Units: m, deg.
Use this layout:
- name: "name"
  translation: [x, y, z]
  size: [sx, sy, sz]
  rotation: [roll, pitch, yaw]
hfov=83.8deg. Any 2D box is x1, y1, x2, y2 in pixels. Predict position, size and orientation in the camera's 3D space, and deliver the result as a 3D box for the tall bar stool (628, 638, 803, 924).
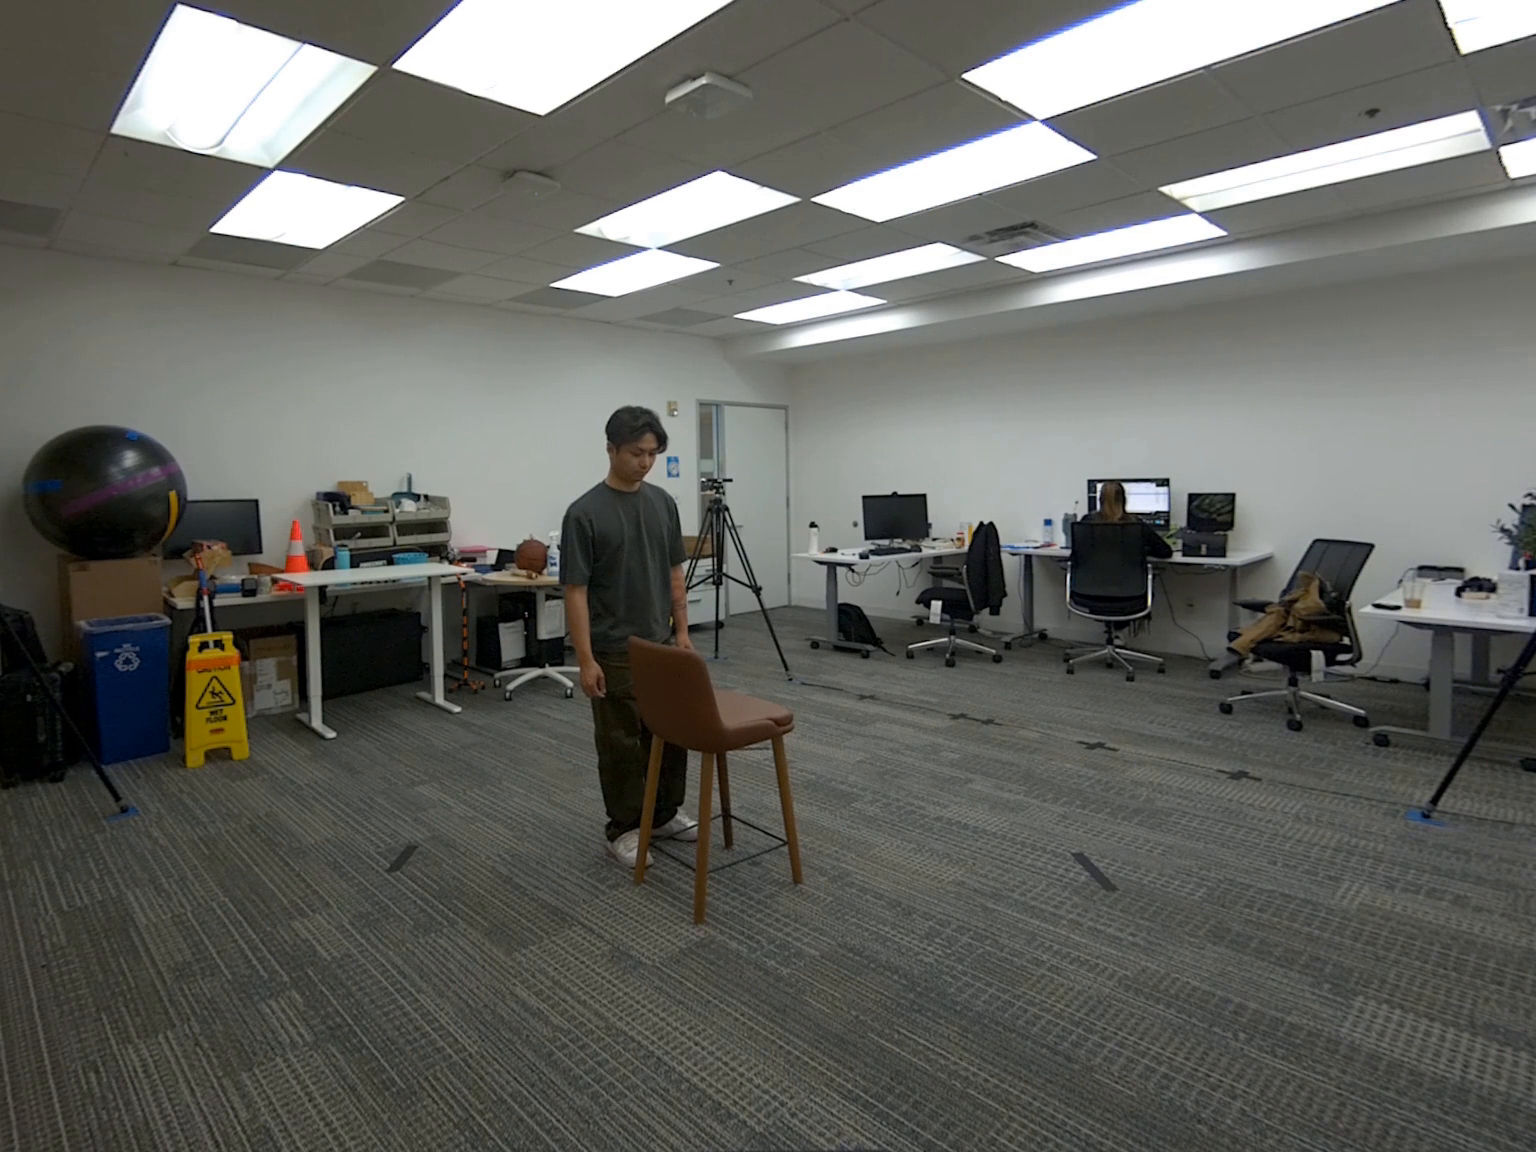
- name: "tall bar stool"
  translation: [-0.180, 0.633, 2.932]
  size: [0.456, 0.885, 0.470]
  rotation: [-6, 7, -40]
